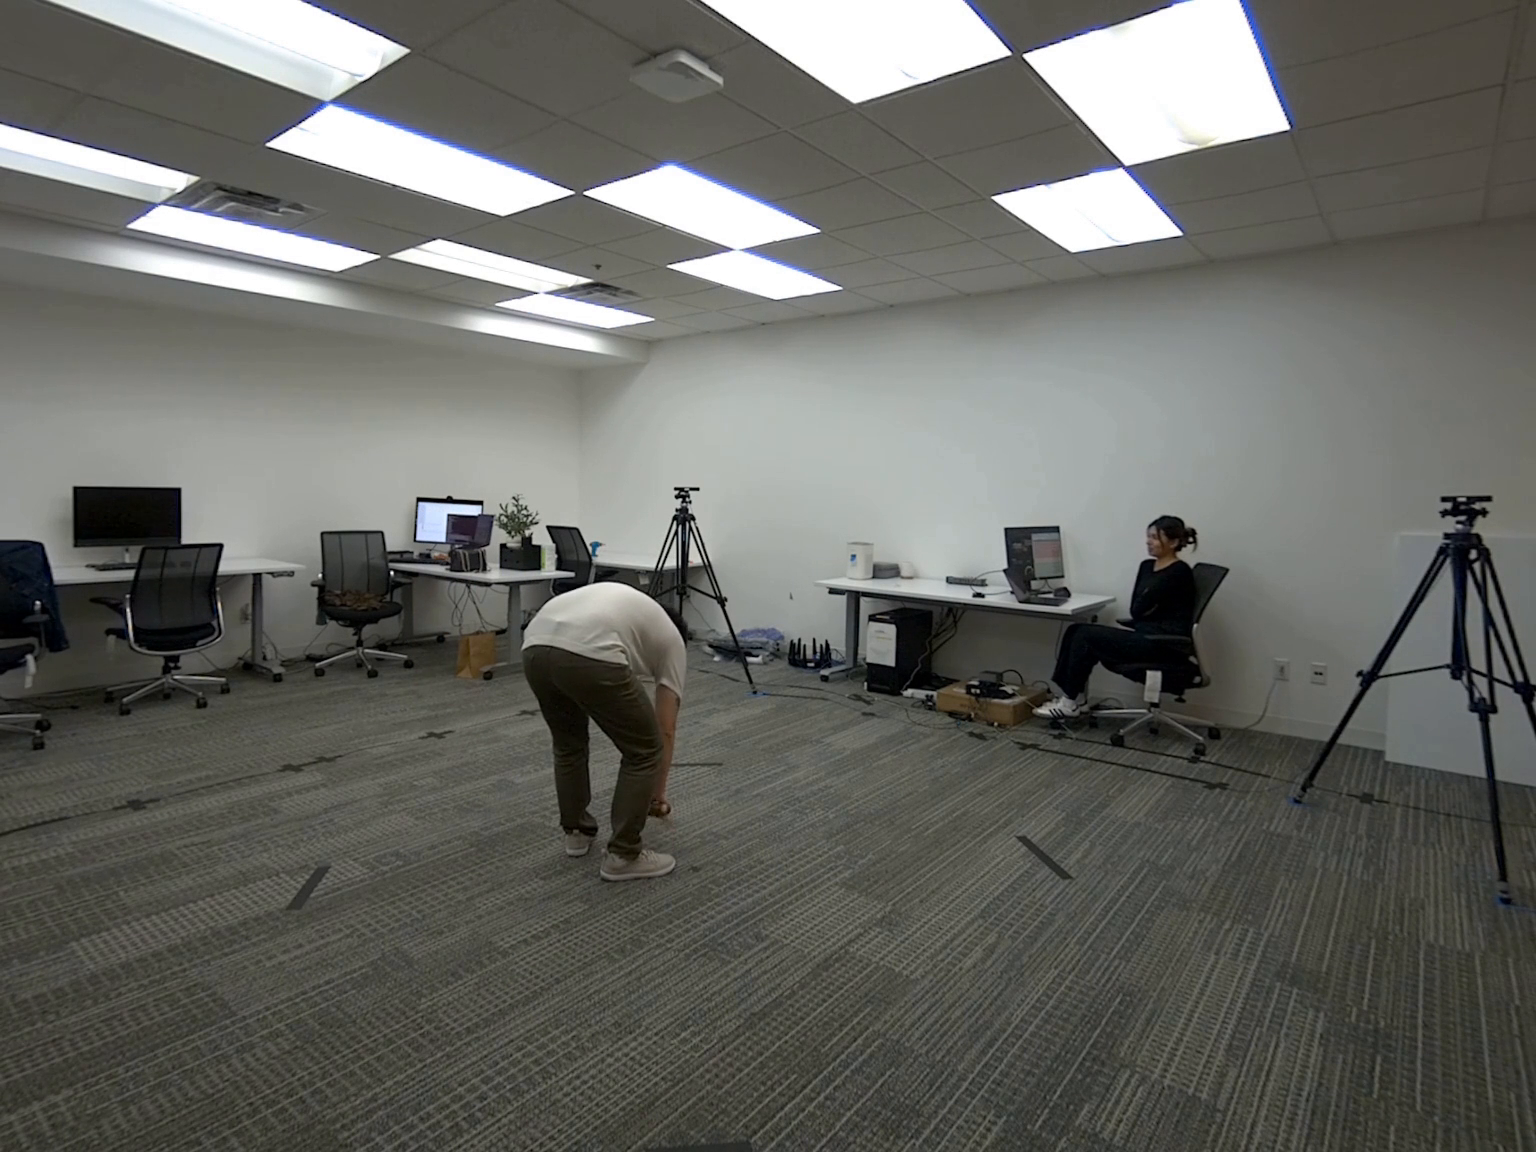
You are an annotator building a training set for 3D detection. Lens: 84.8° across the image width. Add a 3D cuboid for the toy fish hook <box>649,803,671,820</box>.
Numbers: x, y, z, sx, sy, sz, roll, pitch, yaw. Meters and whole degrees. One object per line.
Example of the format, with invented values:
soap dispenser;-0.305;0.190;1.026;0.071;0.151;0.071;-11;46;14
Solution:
toy fish hook;-0.464;0.923;3.413;0.219;0.049;0.513;8;-15;-24
